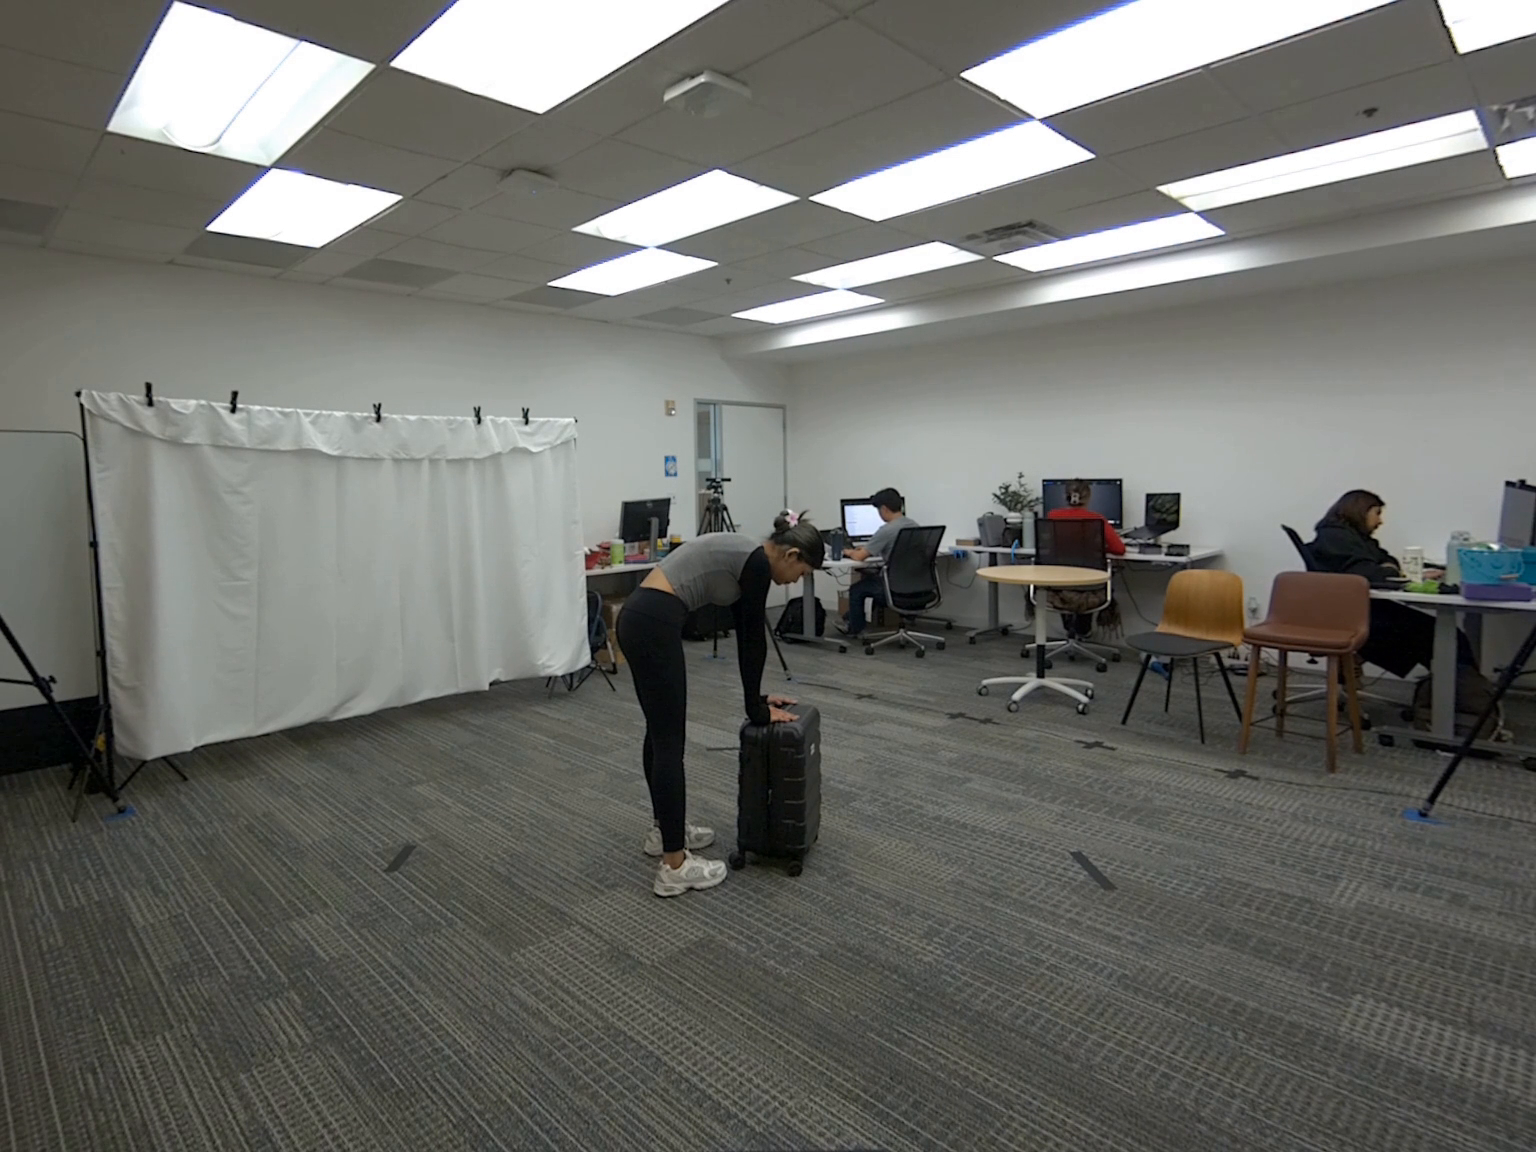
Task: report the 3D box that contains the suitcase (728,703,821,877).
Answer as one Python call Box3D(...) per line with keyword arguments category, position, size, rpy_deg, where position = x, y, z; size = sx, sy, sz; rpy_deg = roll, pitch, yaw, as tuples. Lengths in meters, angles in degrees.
Box3D(category="suitcase", position=(0.043, 0.760, 3.168), size=(0.253, 0.547, 0.370), rpy_deg=(2, 5, 16))
